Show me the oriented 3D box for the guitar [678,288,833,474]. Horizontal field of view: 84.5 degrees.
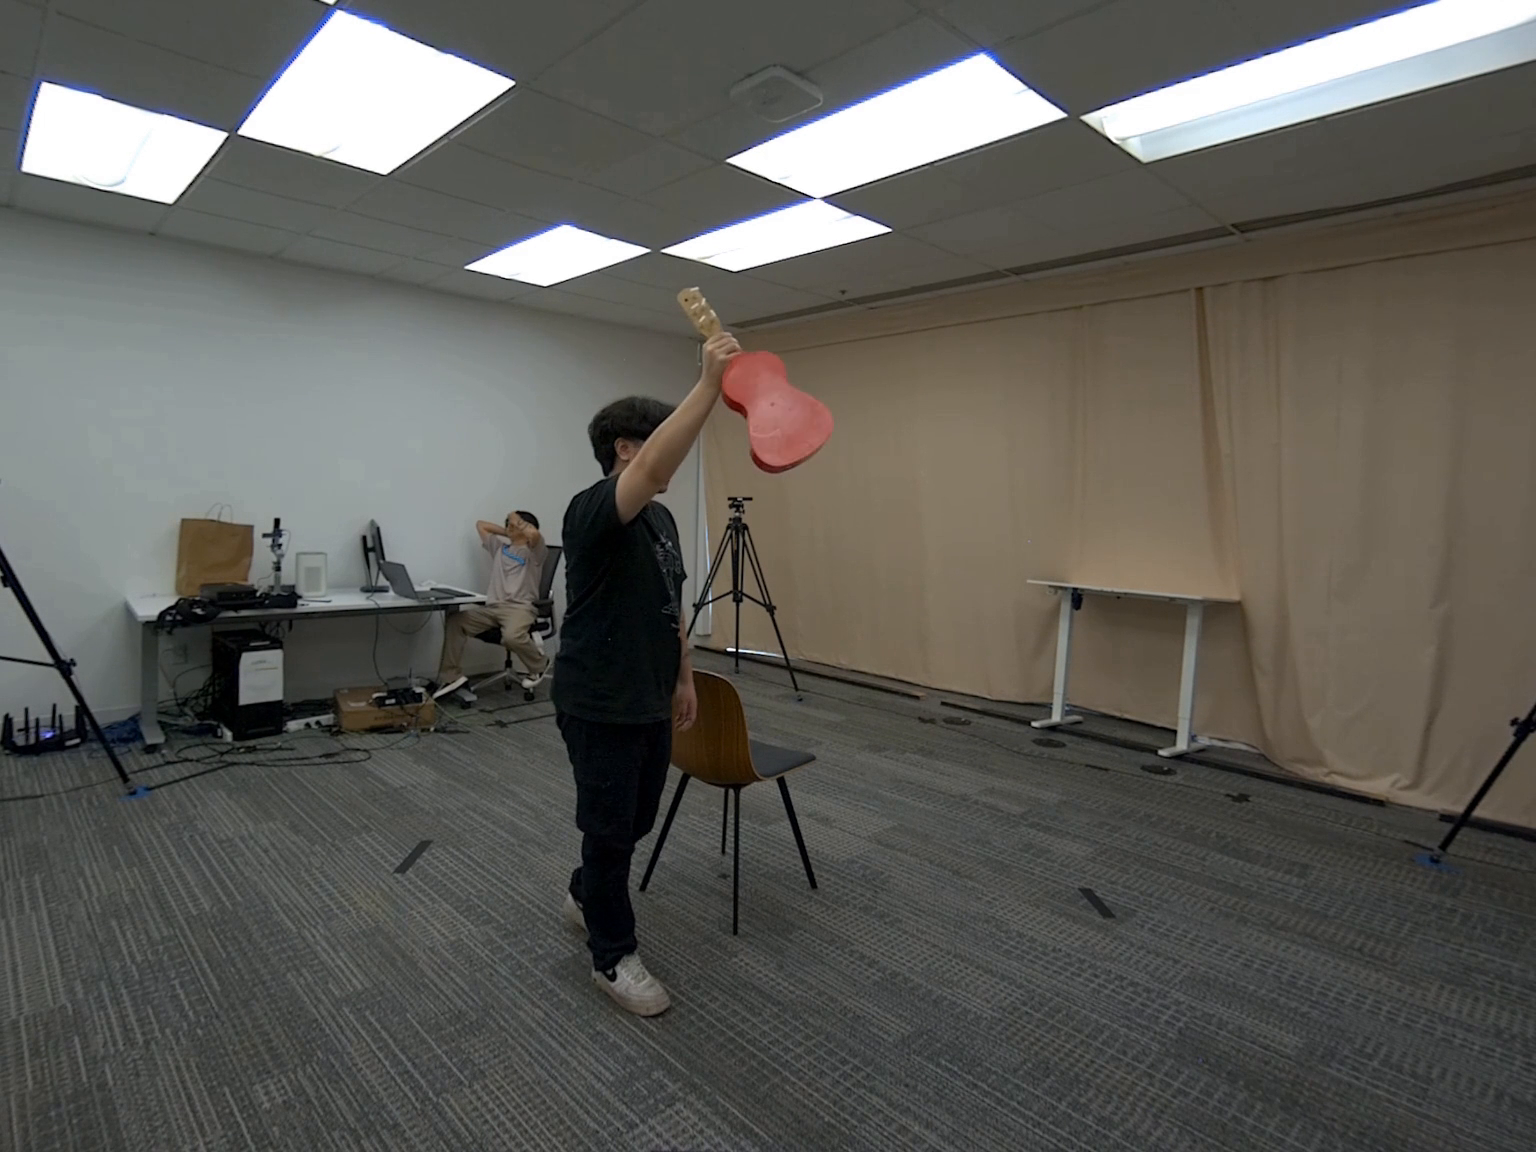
[{"bbox_3d":[-0.077,-0.441,1.904,0.193,0.502,0.070,-41,-8,-9],"label":"guitar"}]
